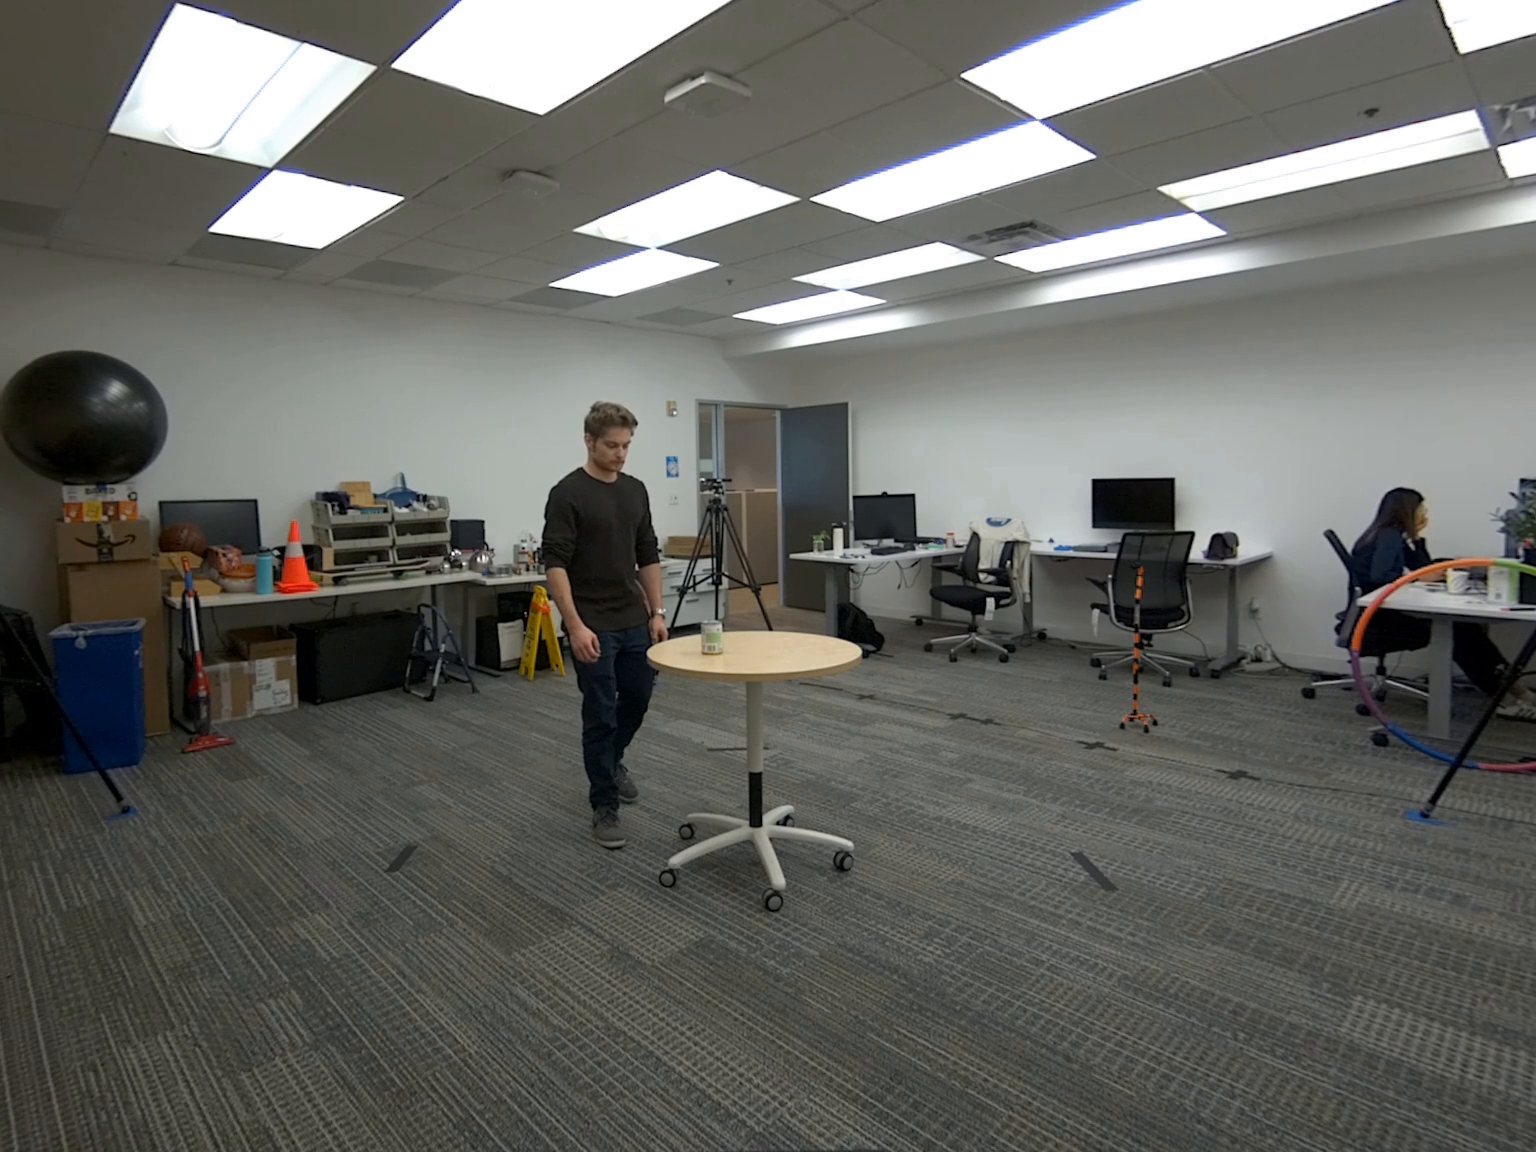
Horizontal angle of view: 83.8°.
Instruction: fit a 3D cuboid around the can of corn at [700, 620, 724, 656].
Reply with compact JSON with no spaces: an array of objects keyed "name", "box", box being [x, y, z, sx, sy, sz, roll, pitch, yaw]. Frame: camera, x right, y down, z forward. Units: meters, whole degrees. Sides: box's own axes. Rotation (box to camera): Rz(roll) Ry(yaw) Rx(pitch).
[{"name":"can of corn","box":[-0.195,0.220,2.997,0.074,0.110,0.075,-3,6,-1]}]
